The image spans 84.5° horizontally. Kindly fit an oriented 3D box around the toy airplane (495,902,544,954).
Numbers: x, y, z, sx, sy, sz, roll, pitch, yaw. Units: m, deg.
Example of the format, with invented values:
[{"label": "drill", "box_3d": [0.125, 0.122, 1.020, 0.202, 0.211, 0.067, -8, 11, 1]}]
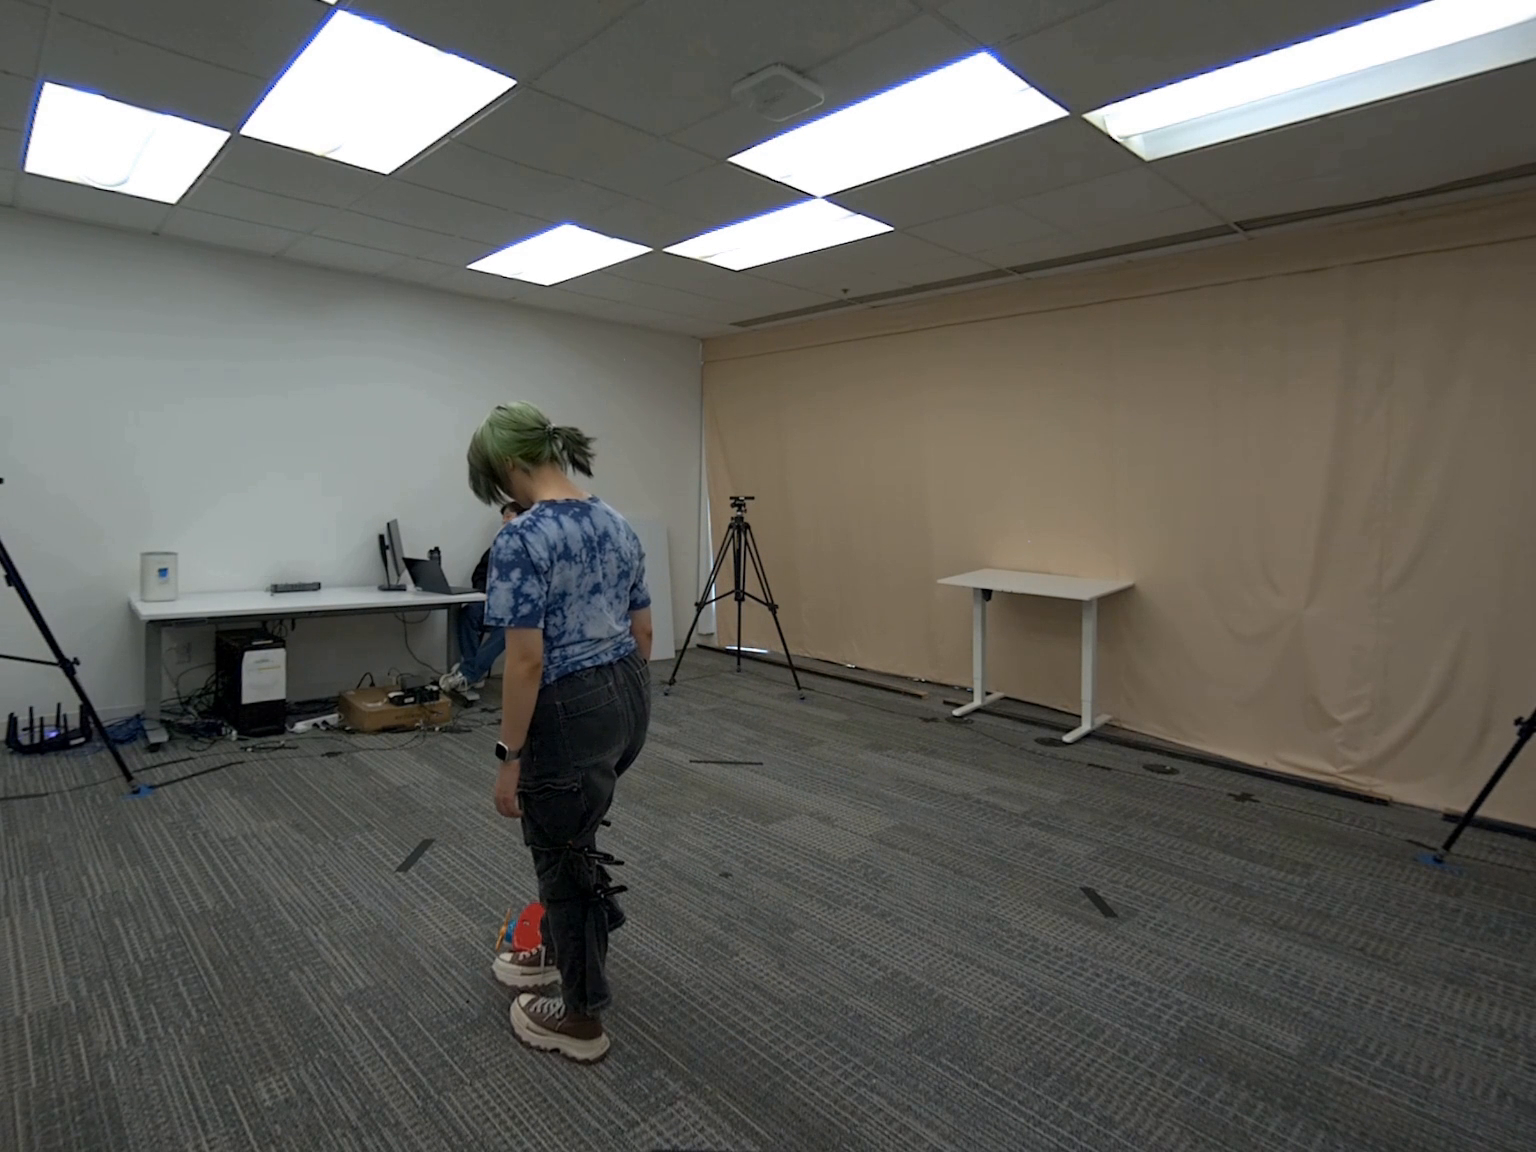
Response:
[{"label": "toy airplane", "box_3d": [-0.662, 1.079, 2.459, 0.254, 0.156, 0.257, -4, 8, -30]}]
